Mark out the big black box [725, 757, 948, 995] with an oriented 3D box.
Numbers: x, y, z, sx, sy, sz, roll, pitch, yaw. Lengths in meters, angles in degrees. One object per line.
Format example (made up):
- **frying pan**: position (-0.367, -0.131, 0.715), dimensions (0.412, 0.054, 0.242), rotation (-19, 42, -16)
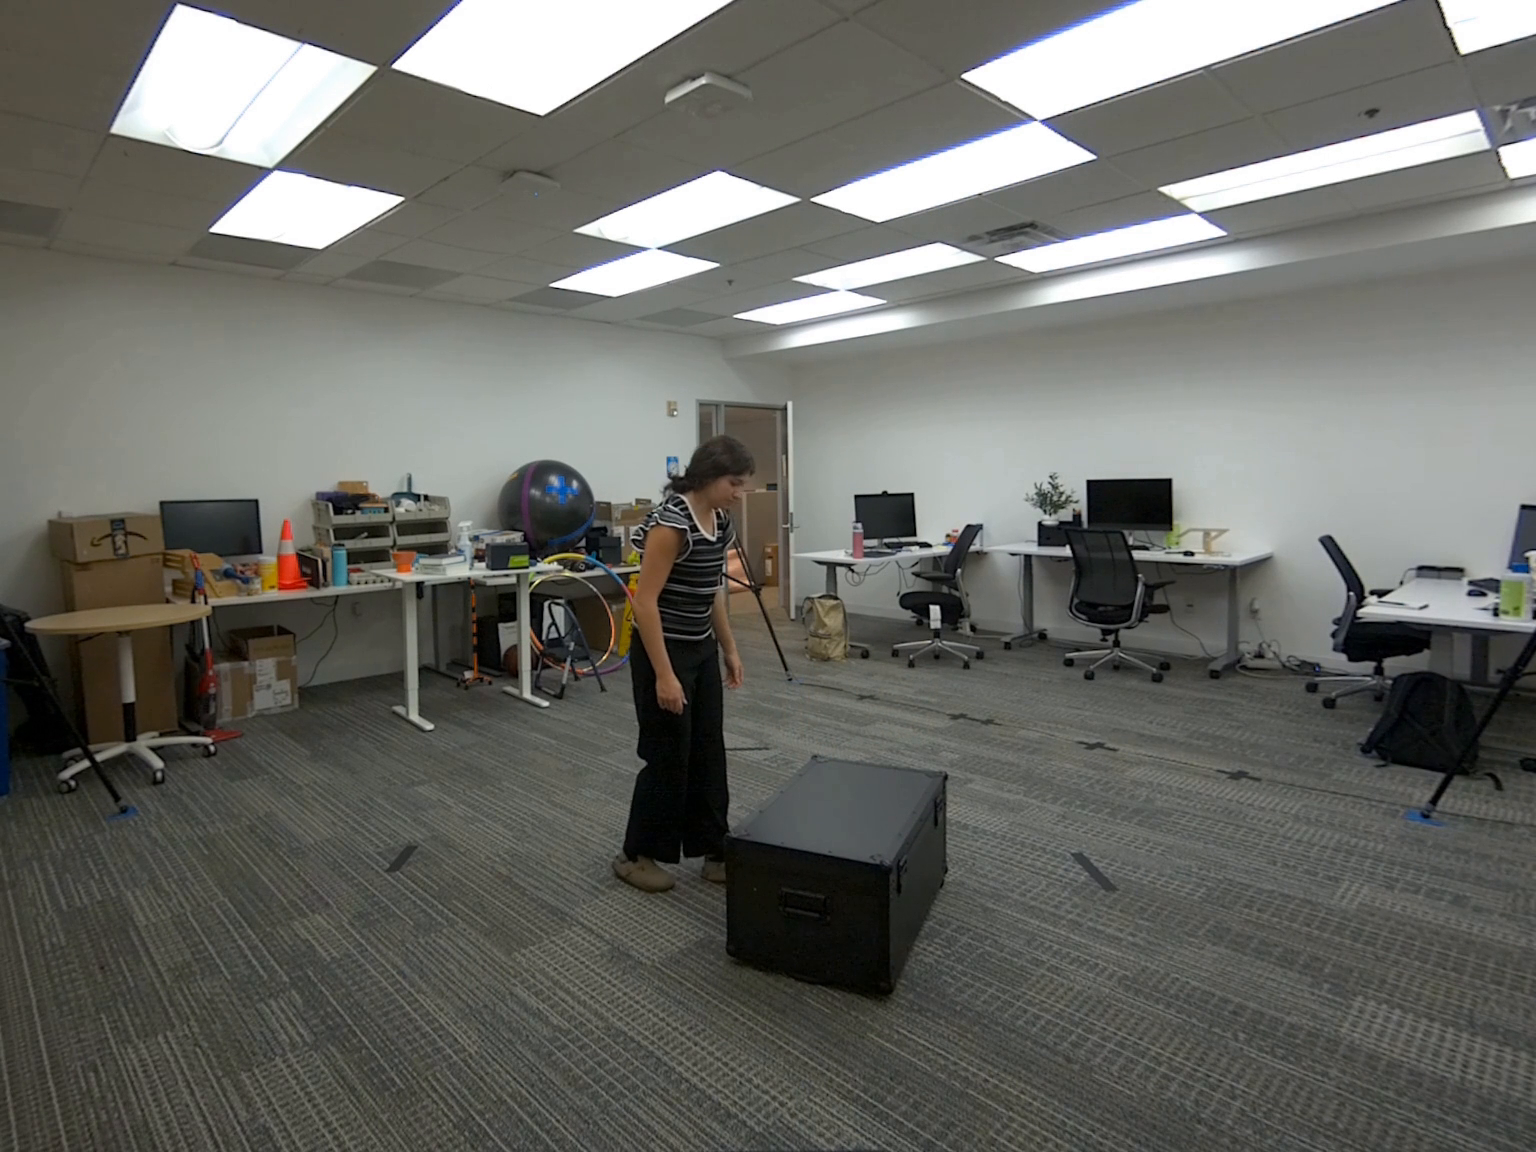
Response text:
- **big black box**: position (0.262, 0.890, 2.731), dimensions (0.533, 0.394, 0.846), rotation (0, 6, 23)
